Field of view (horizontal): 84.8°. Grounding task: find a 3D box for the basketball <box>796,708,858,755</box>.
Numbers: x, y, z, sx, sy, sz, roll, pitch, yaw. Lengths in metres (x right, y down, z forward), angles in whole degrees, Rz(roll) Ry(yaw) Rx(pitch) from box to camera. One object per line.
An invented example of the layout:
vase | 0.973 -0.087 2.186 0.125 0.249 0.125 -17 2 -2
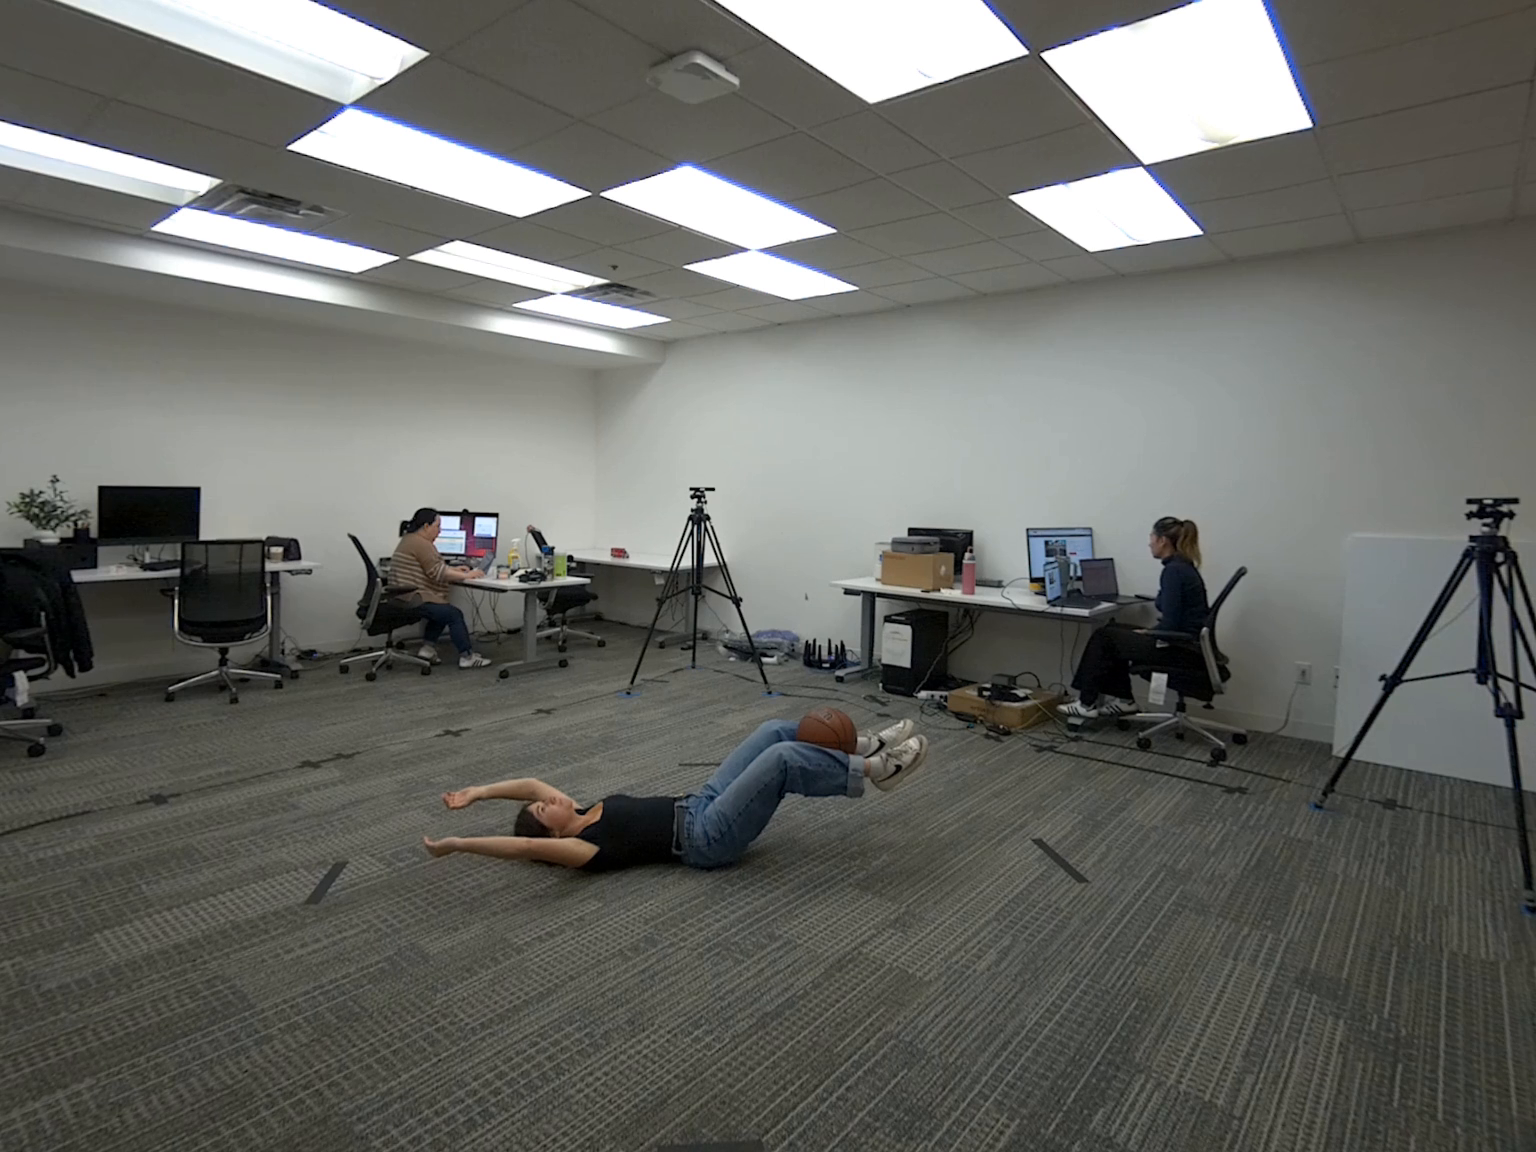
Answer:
basketball | 0.220 0.621 3.299 0.235 0.235 0.237 1 4 -2
